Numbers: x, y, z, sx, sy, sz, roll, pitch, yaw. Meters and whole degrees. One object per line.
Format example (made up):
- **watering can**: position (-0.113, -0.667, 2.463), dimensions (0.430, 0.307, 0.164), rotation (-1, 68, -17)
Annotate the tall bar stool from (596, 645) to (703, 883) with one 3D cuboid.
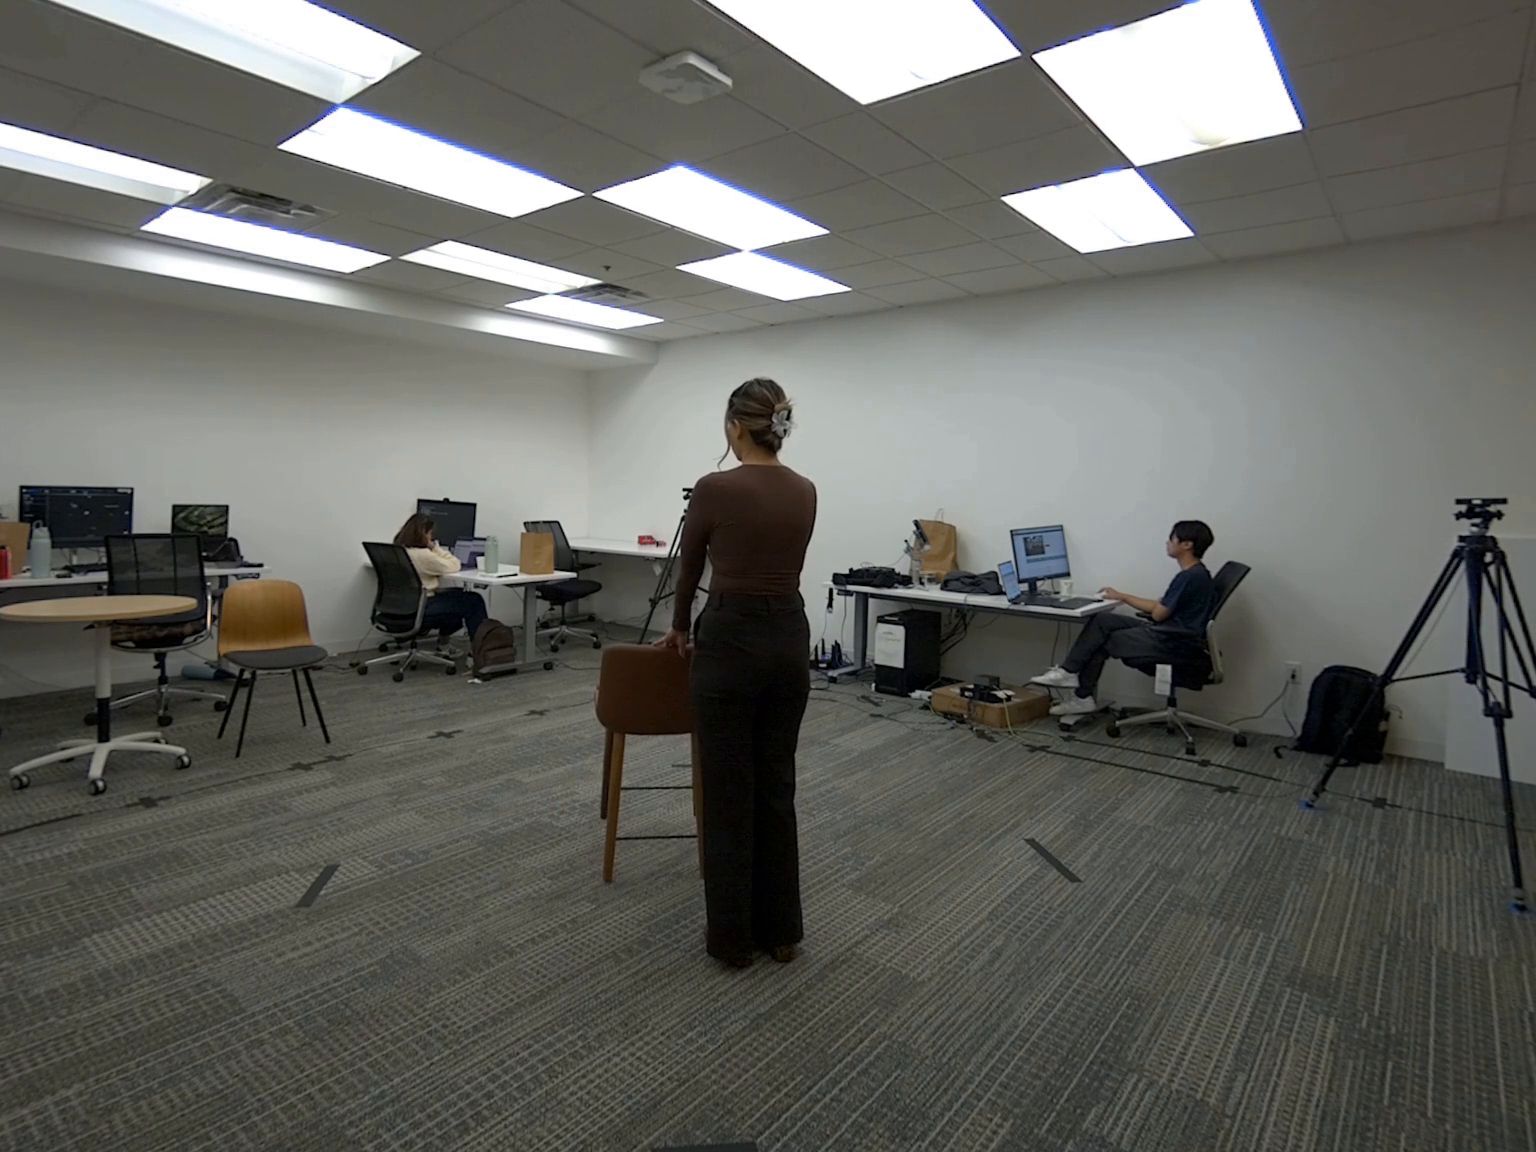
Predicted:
- **tall bar stool**: position (-0.424, 0.603, 3.139), dimensions (0.453, 0.879, 0.477), rotation (1, 13, -8)
